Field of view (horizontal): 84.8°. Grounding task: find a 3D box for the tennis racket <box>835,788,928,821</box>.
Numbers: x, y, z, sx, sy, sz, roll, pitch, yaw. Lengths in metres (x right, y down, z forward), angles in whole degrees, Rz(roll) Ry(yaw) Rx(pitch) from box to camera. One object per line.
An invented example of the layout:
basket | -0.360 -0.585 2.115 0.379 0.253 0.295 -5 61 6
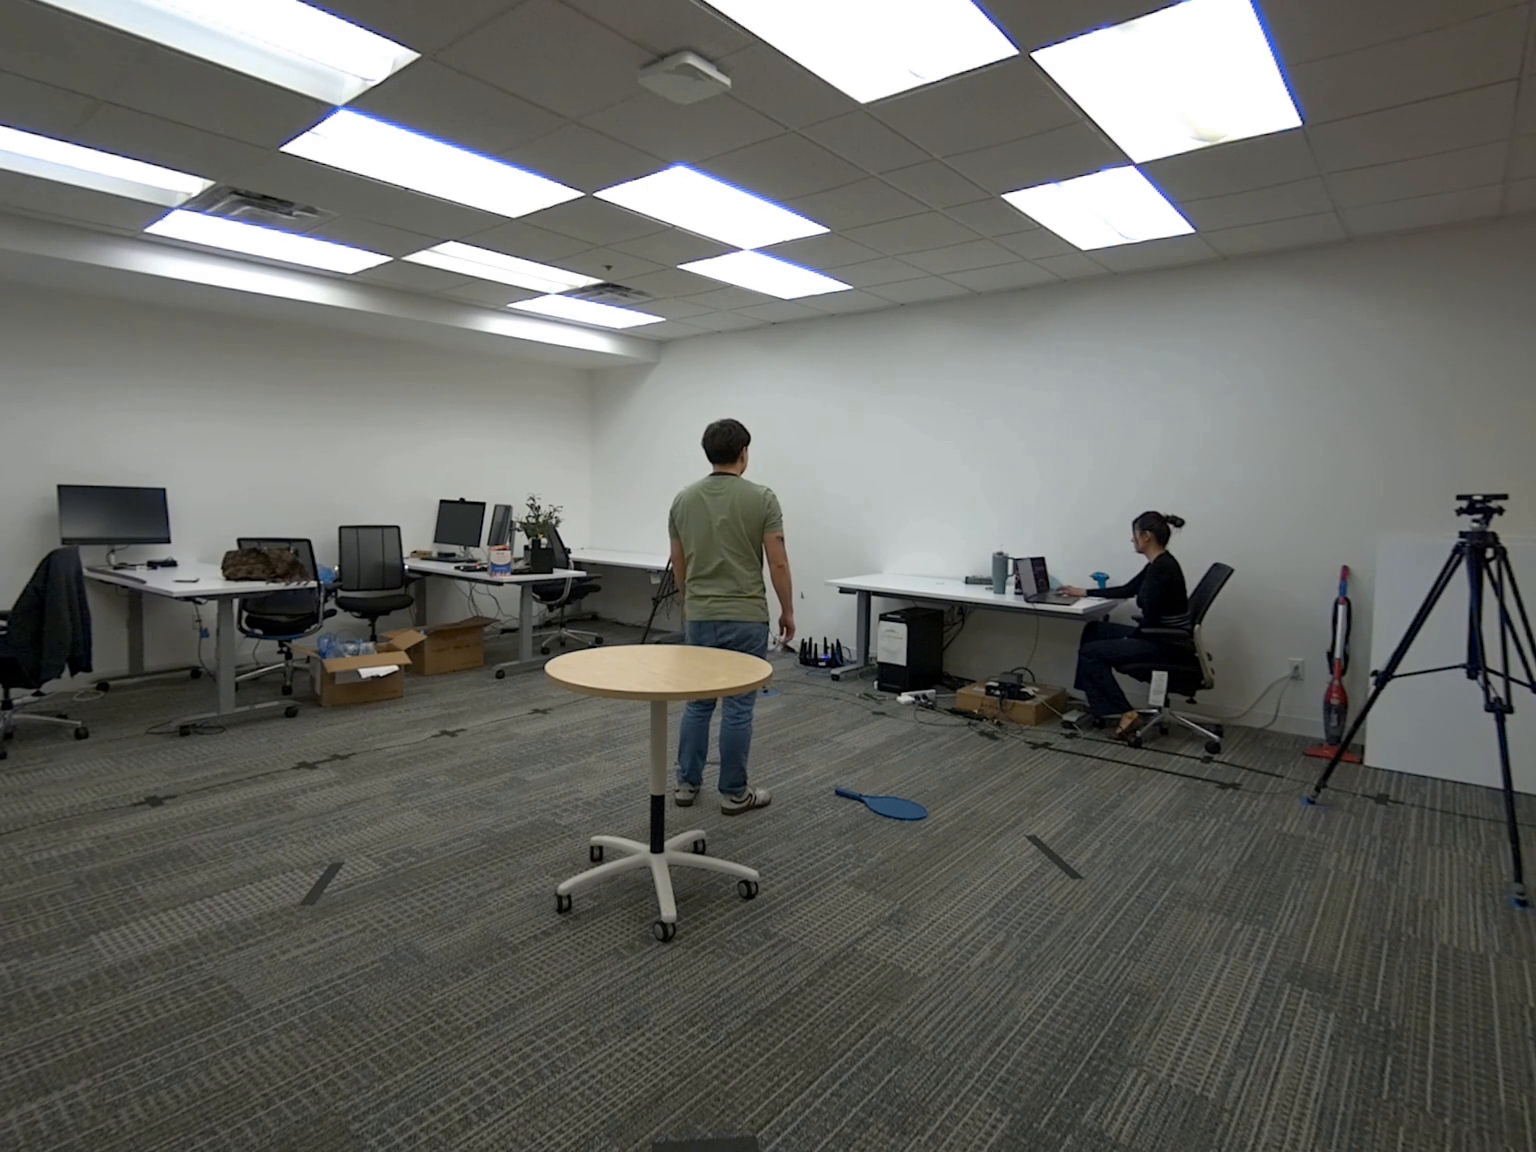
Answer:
tennis racket | 0.487 0.997 3.763 0.447 0.031 0.208 7 10 35
